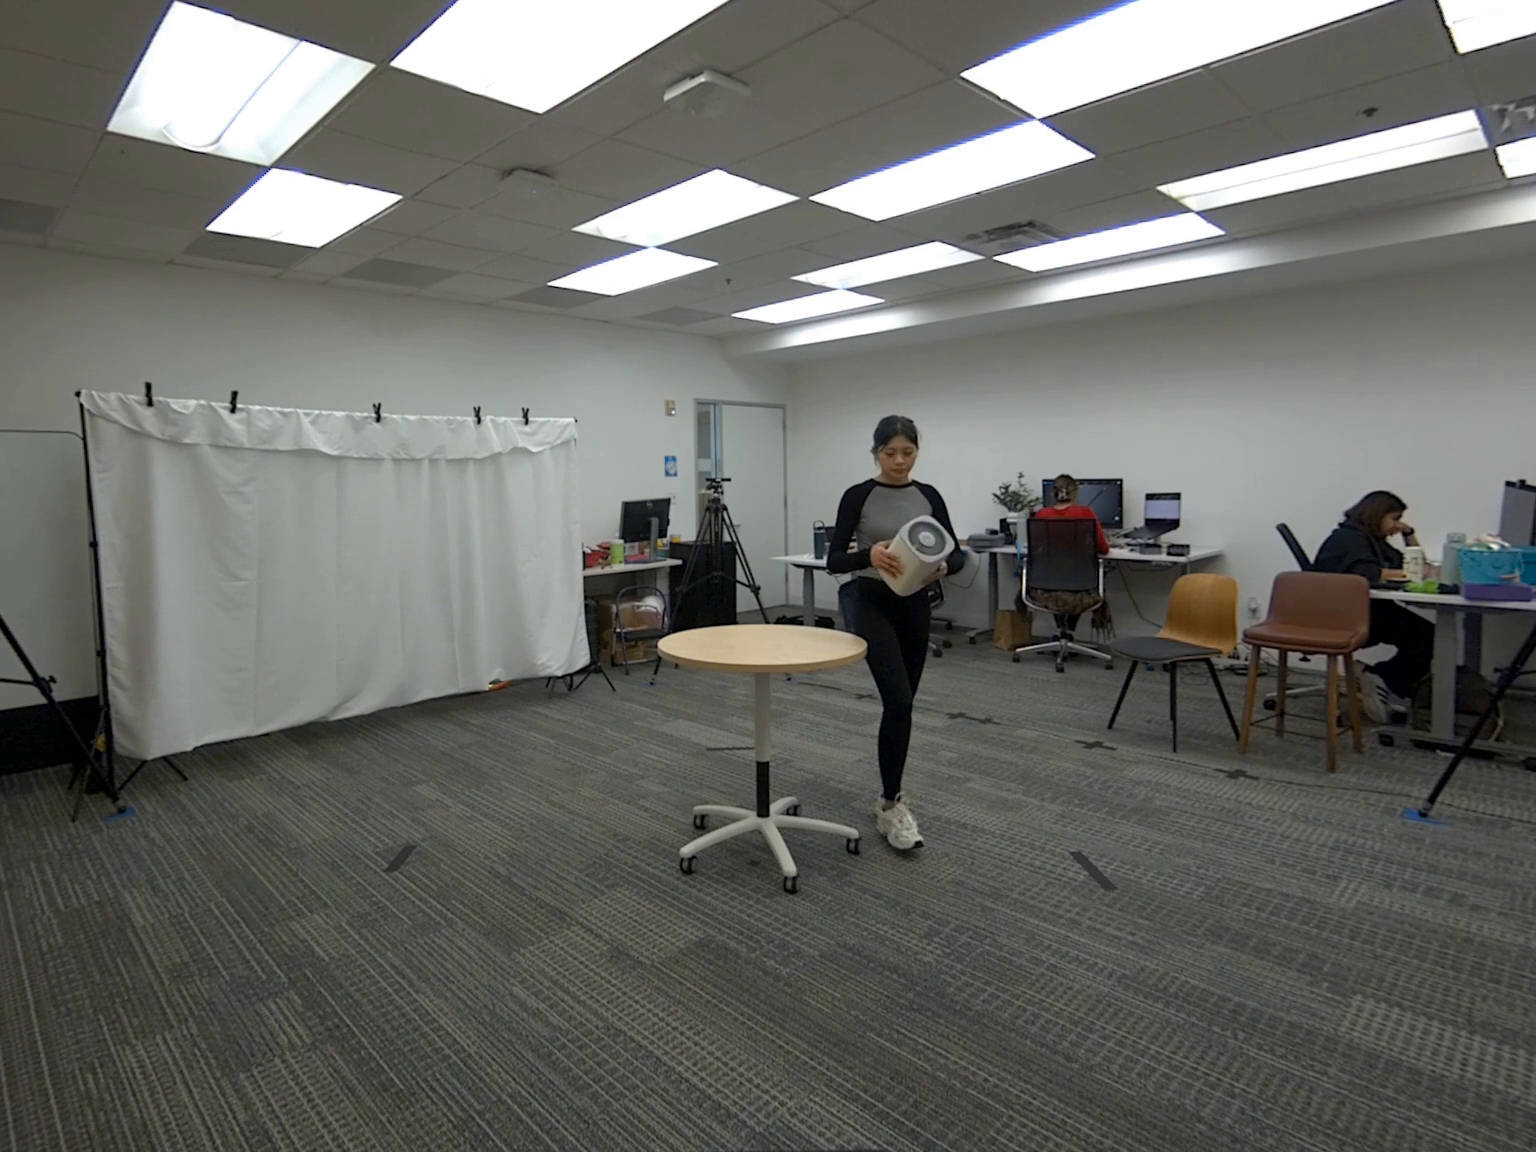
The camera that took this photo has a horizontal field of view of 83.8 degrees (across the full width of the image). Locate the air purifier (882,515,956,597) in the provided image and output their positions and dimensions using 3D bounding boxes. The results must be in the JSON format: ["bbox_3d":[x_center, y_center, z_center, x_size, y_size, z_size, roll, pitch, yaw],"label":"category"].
[{"bbox_3d":[0.521,-0.062,3.092,0.170,0.175,0.261,-31,-20,-28],"label":"air purifier"}]
